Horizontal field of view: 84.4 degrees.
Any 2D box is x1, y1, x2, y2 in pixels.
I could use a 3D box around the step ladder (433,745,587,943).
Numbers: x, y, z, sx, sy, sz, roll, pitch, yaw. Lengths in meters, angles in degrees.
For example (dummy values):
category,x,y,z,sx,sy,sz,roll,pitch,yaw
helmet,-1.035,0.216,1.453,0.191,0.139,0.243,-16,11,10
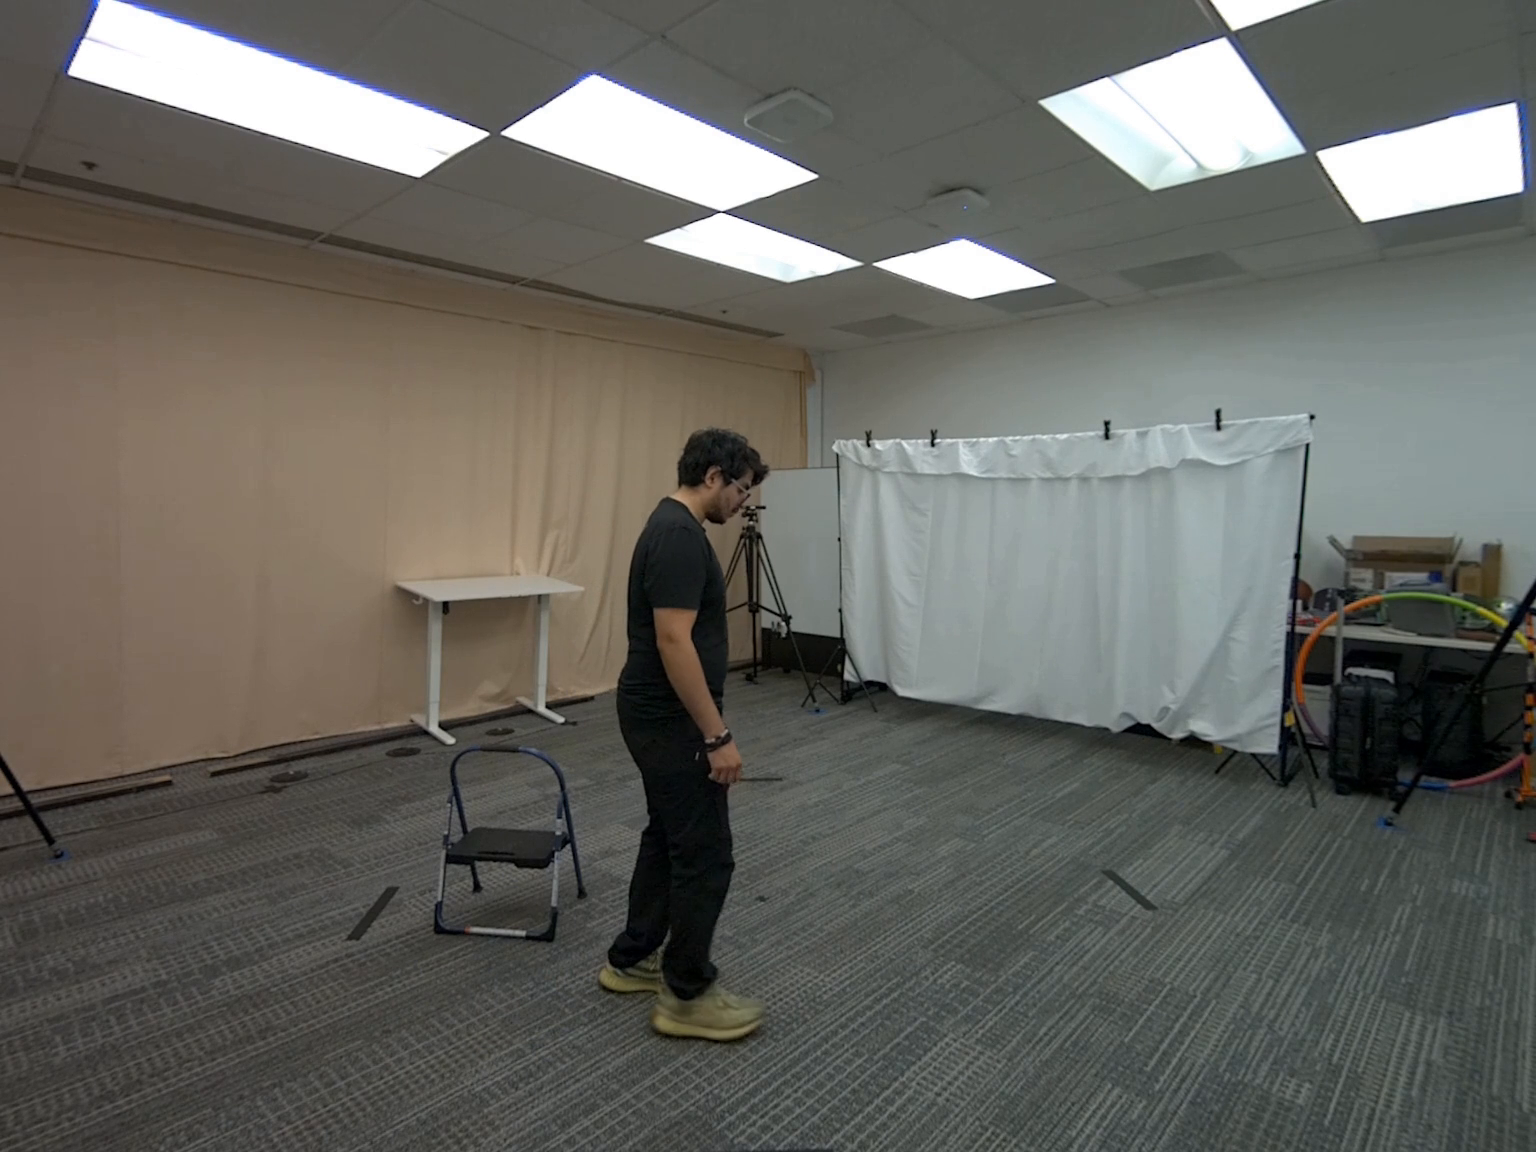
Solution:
category,x,y,z,sx,sy,sz,roll,pitch,yaw
step ladder,-0.882,0.862,2.871,0.434,0.605,0.347,0,3,7
